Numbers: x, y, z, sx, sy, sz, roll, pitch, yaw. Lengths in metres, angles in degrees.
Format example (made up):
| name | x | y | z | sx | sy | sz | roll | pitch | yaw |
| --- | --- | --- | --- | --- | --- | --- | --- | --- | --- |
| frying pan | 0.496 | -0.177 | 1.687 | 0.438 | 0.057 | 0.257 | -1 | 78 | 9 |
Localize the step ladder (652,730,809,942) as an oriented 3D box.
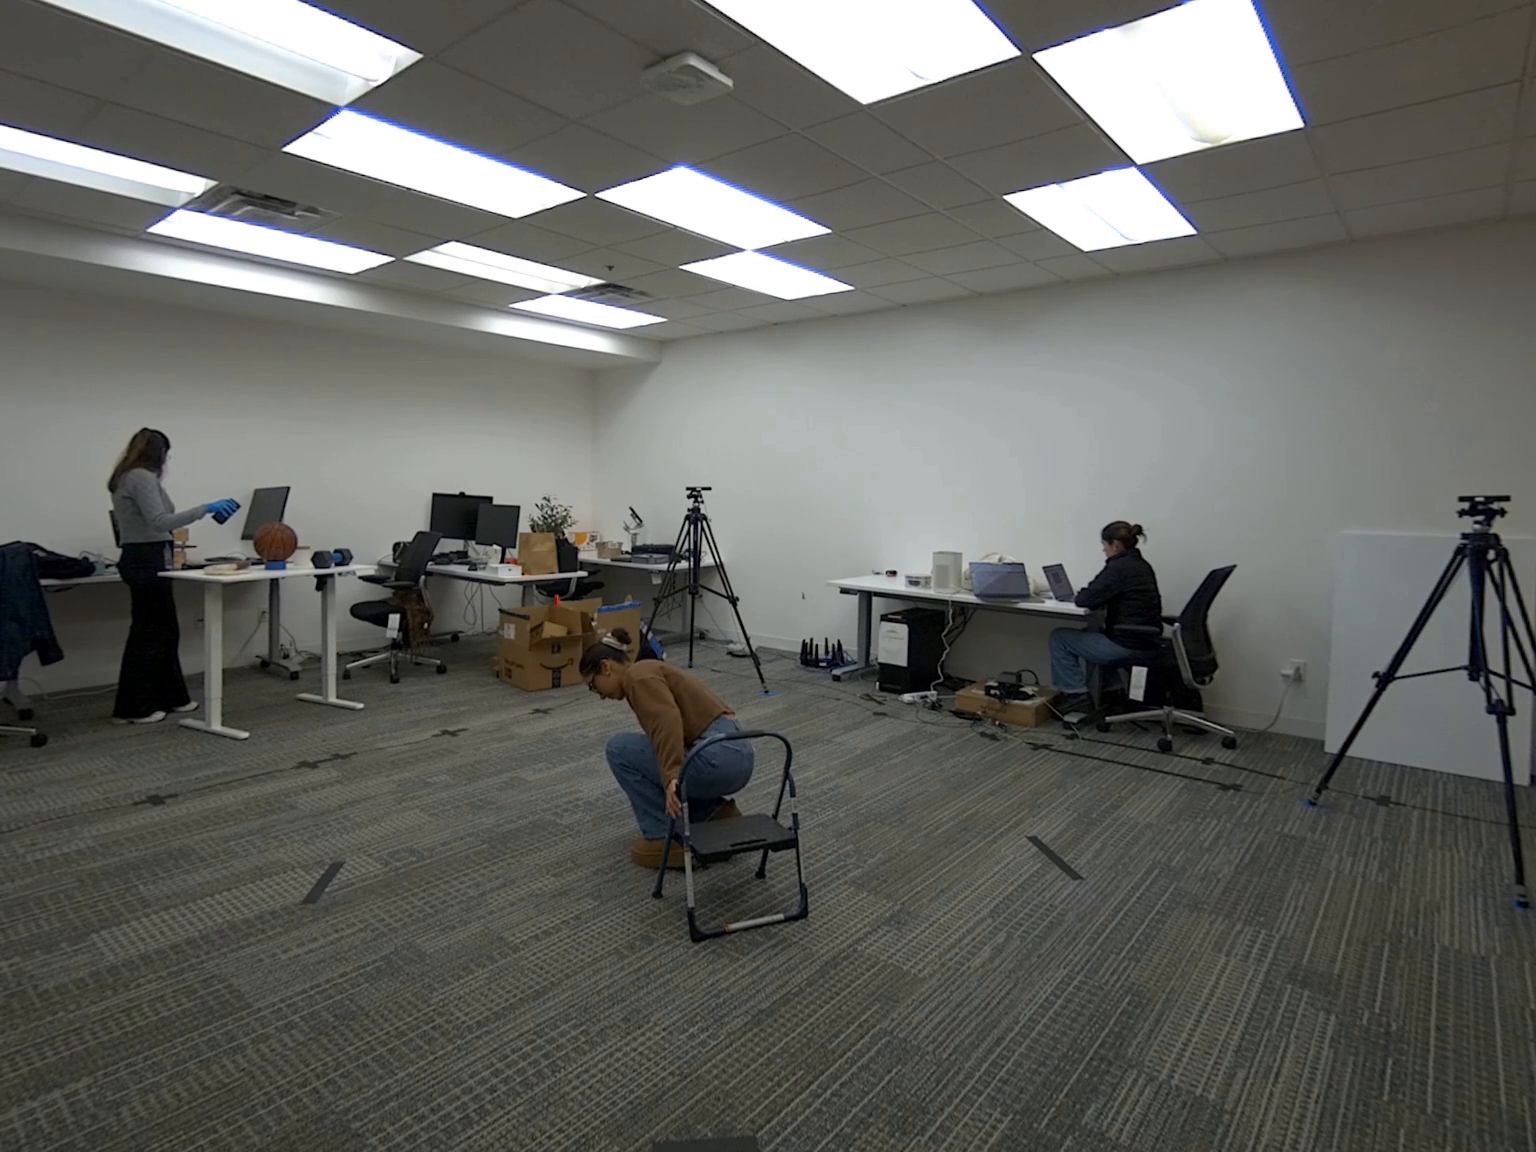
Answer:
| name | x | y | z | sx | sy | sz | roll | pitch | yaw |
| --- | --- | --- | --- | --- | --- | --- | --- | --- | --- |
| step ladder | -0.131 | 0.795 | 2.817 | 0.420 | 0.604 | 0.359 | -1 | 3 | -27 |
